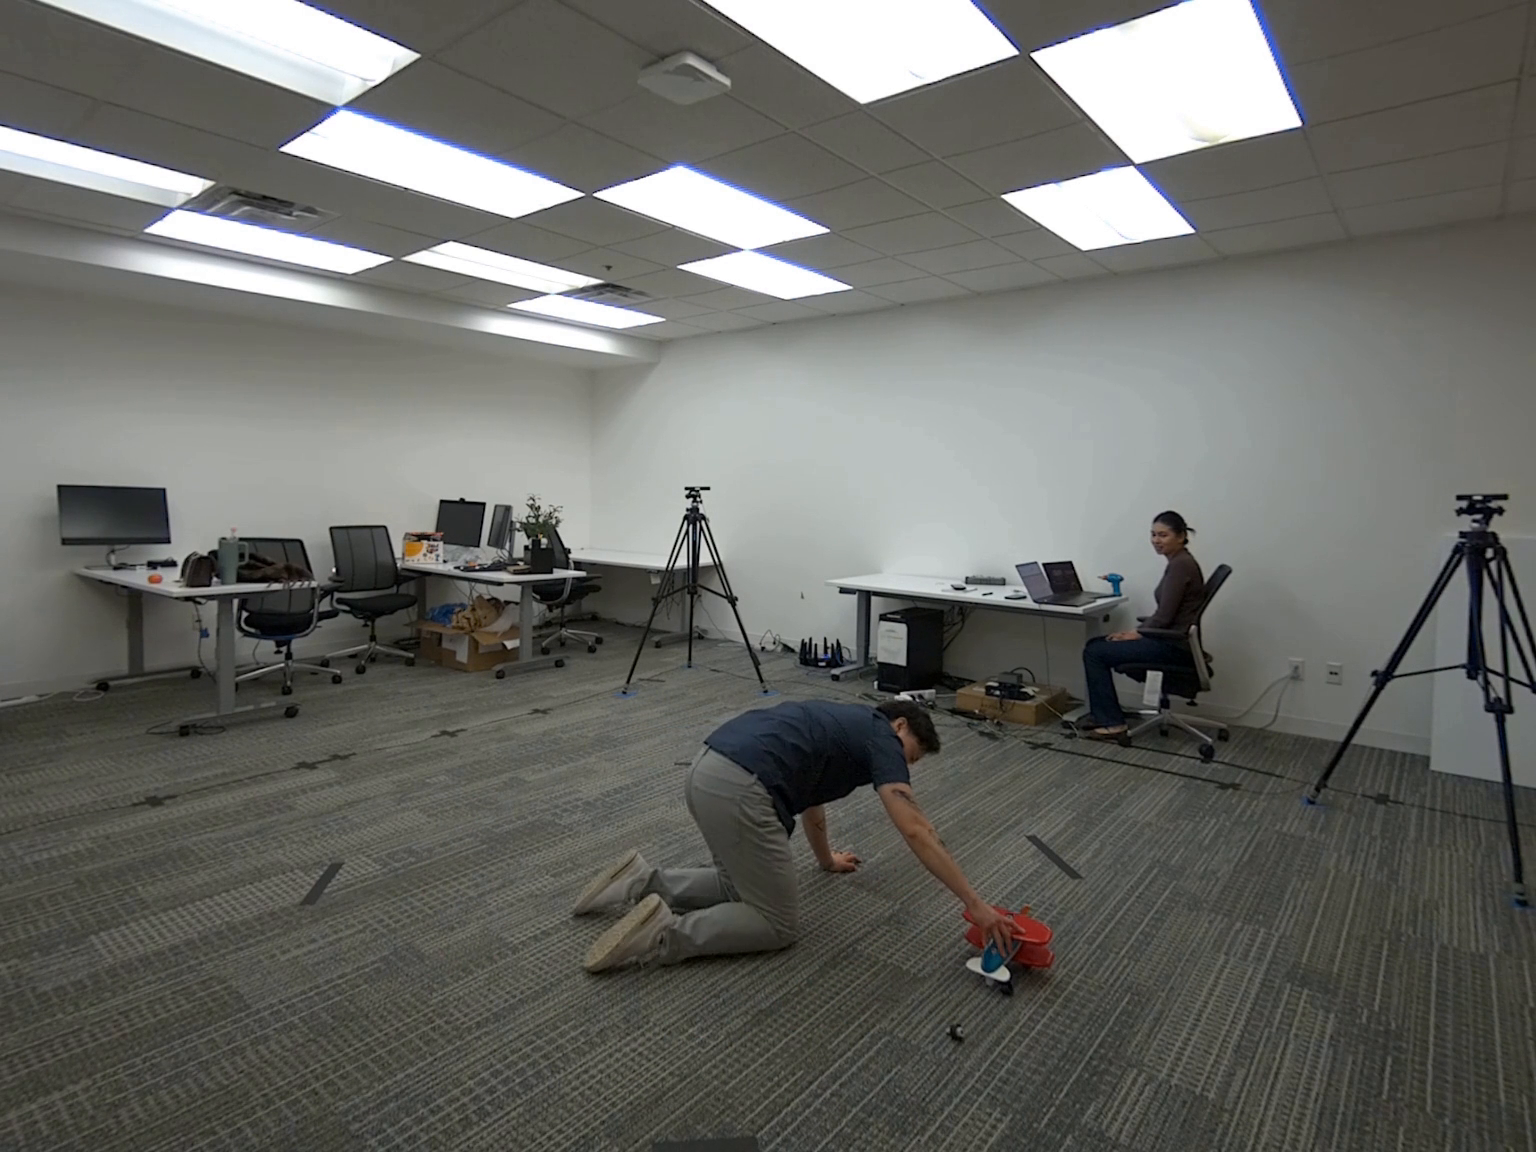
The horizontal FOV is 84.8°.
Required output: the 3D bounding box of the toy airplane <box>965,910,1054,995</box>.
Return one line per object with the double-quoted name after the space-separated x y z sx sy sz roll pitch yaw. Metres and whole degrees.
0.695 1.081 2.452 0.254 0.156 0.257 -1 4 11 "toy airplane"
